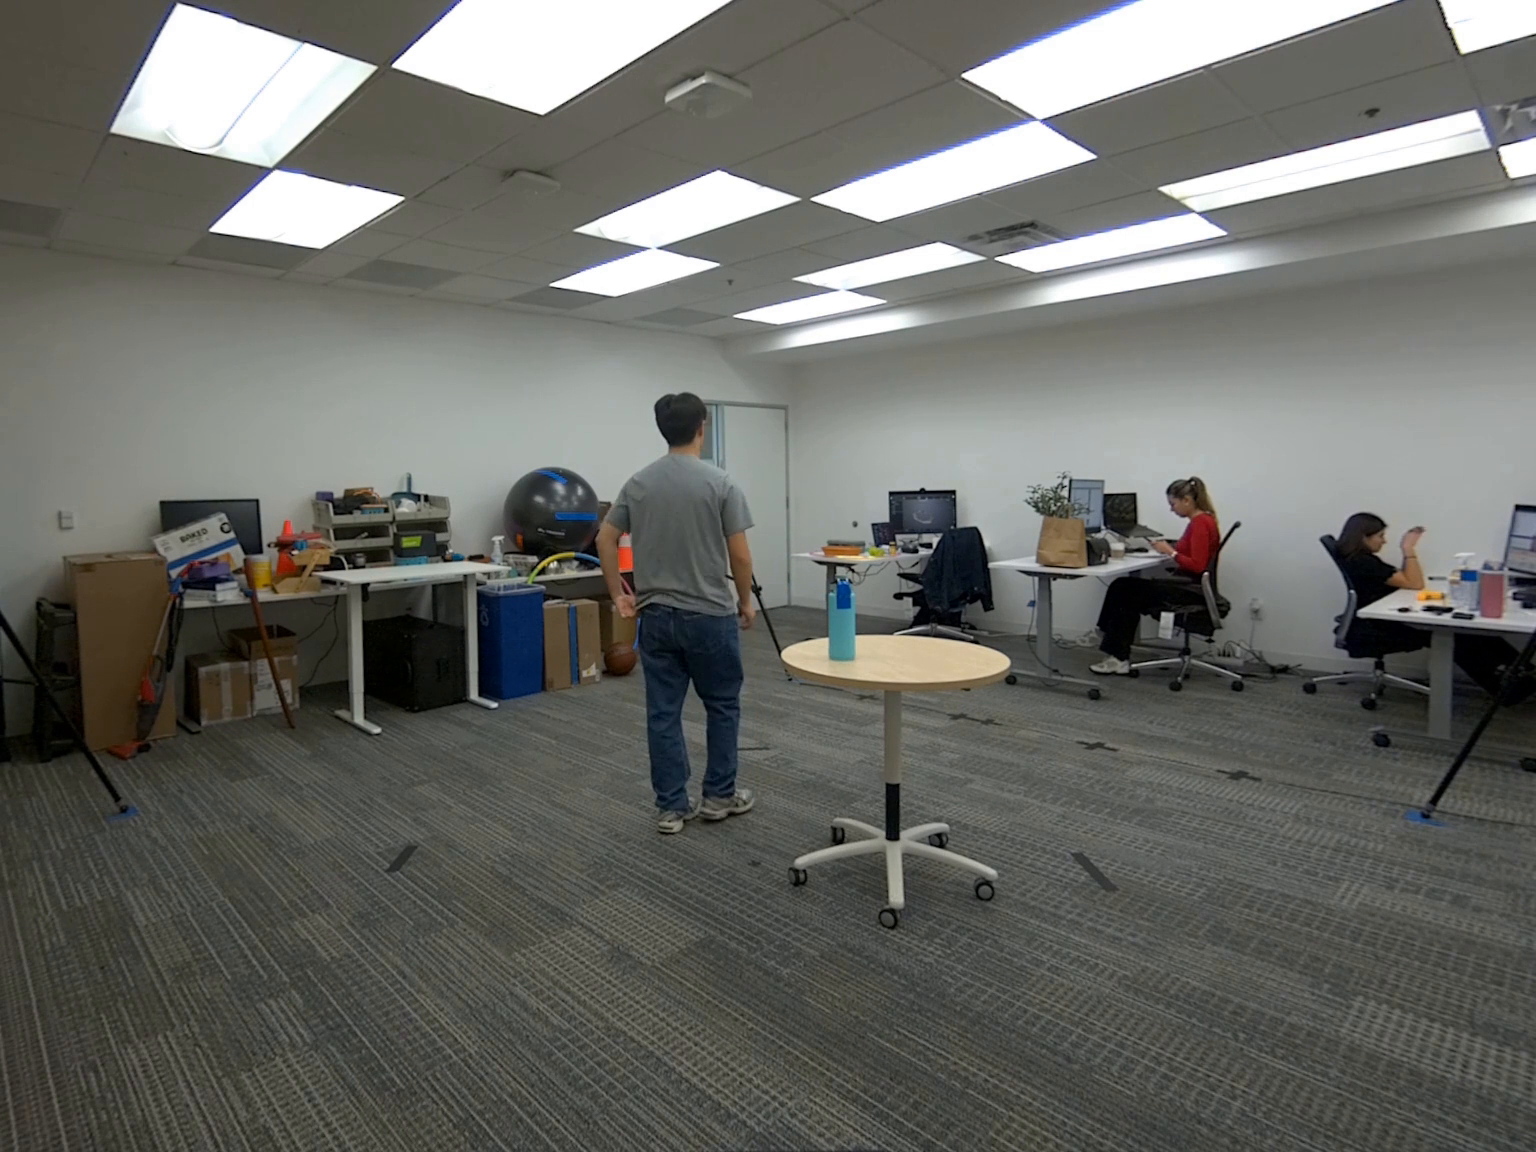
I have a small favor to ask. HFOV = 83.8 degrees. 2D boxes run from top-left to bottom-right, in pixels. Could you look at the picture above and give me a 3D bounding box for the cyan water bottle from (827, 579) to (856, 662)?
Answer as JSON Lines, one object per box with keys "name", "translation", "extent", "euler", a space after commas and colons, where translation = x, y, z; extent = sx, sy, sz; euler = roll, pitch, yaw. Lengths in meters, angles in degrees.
{"name": "cyan water bottle", "translation": [0.257, 0.141, 2.879], "extent": [0.092, 0.282, 0.093], "euler": [-2, 5, -1]}
